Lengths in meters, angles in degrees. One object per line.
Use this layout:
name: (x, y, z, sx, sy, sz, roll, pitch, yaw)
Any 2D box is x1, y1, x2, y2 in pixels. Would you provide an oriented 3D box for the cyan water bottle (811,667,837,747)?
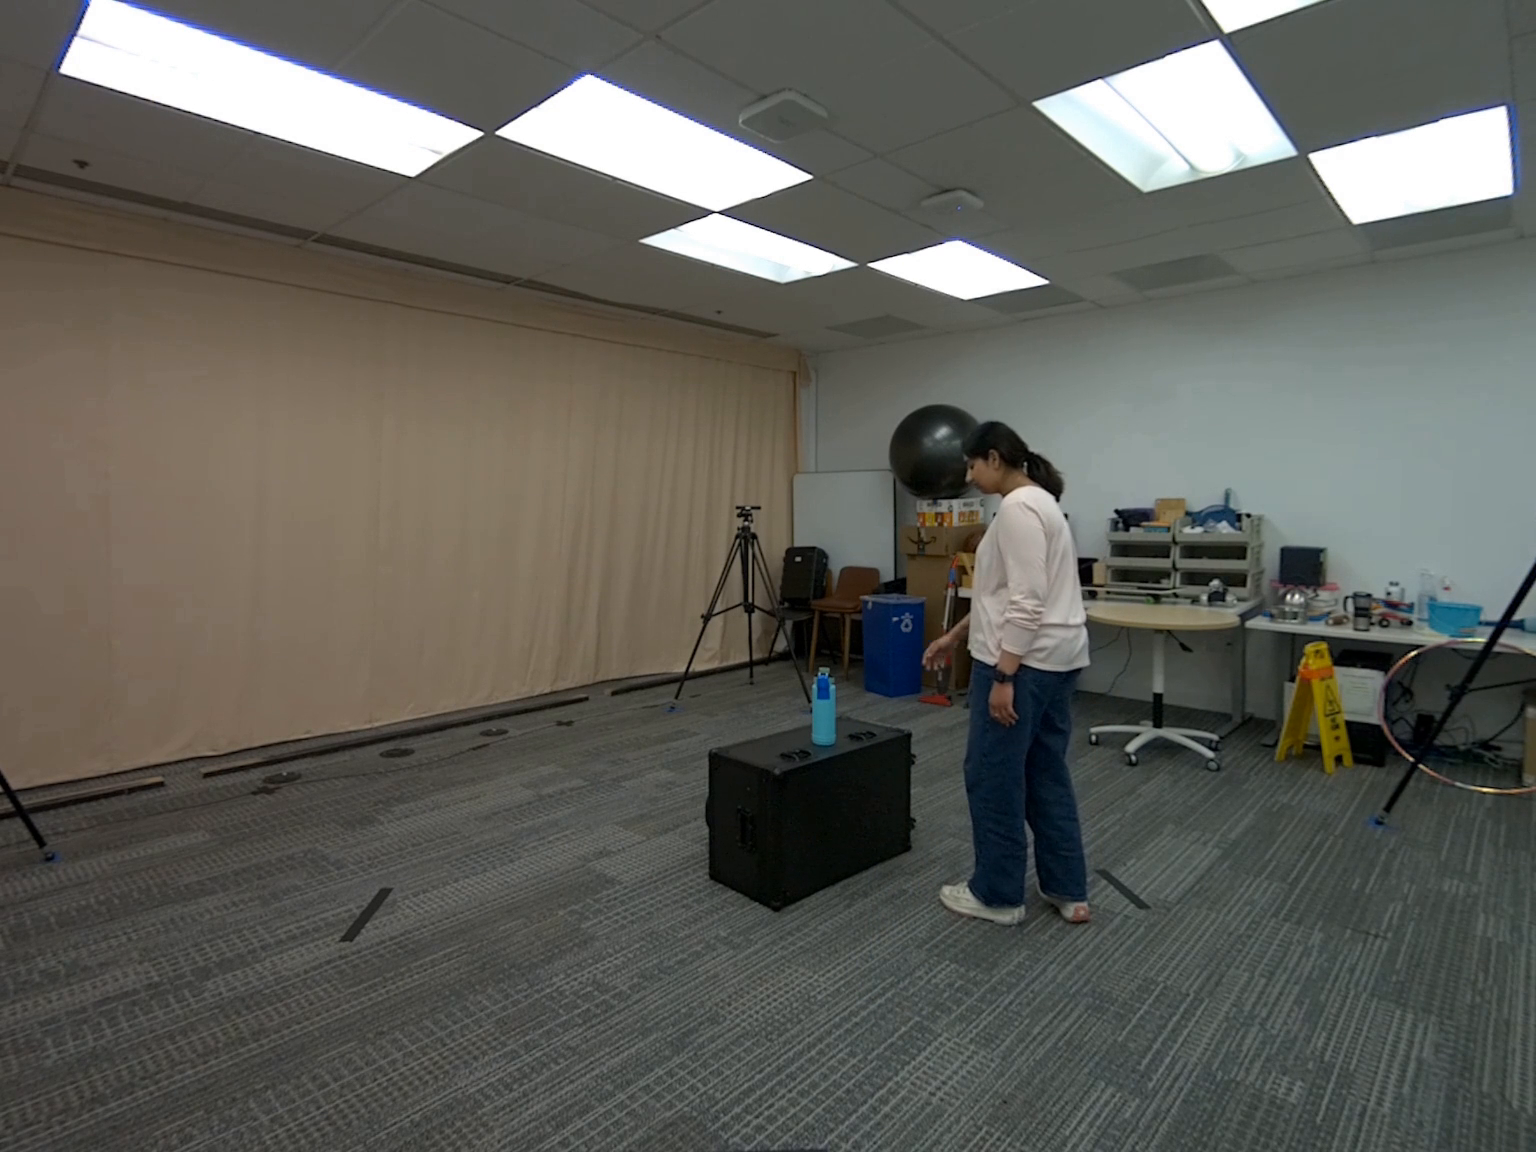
cyan water bottle: (0.222, 0.502, 3.240, 0.092, 0.283, 0.093, 0, 4, -2)
